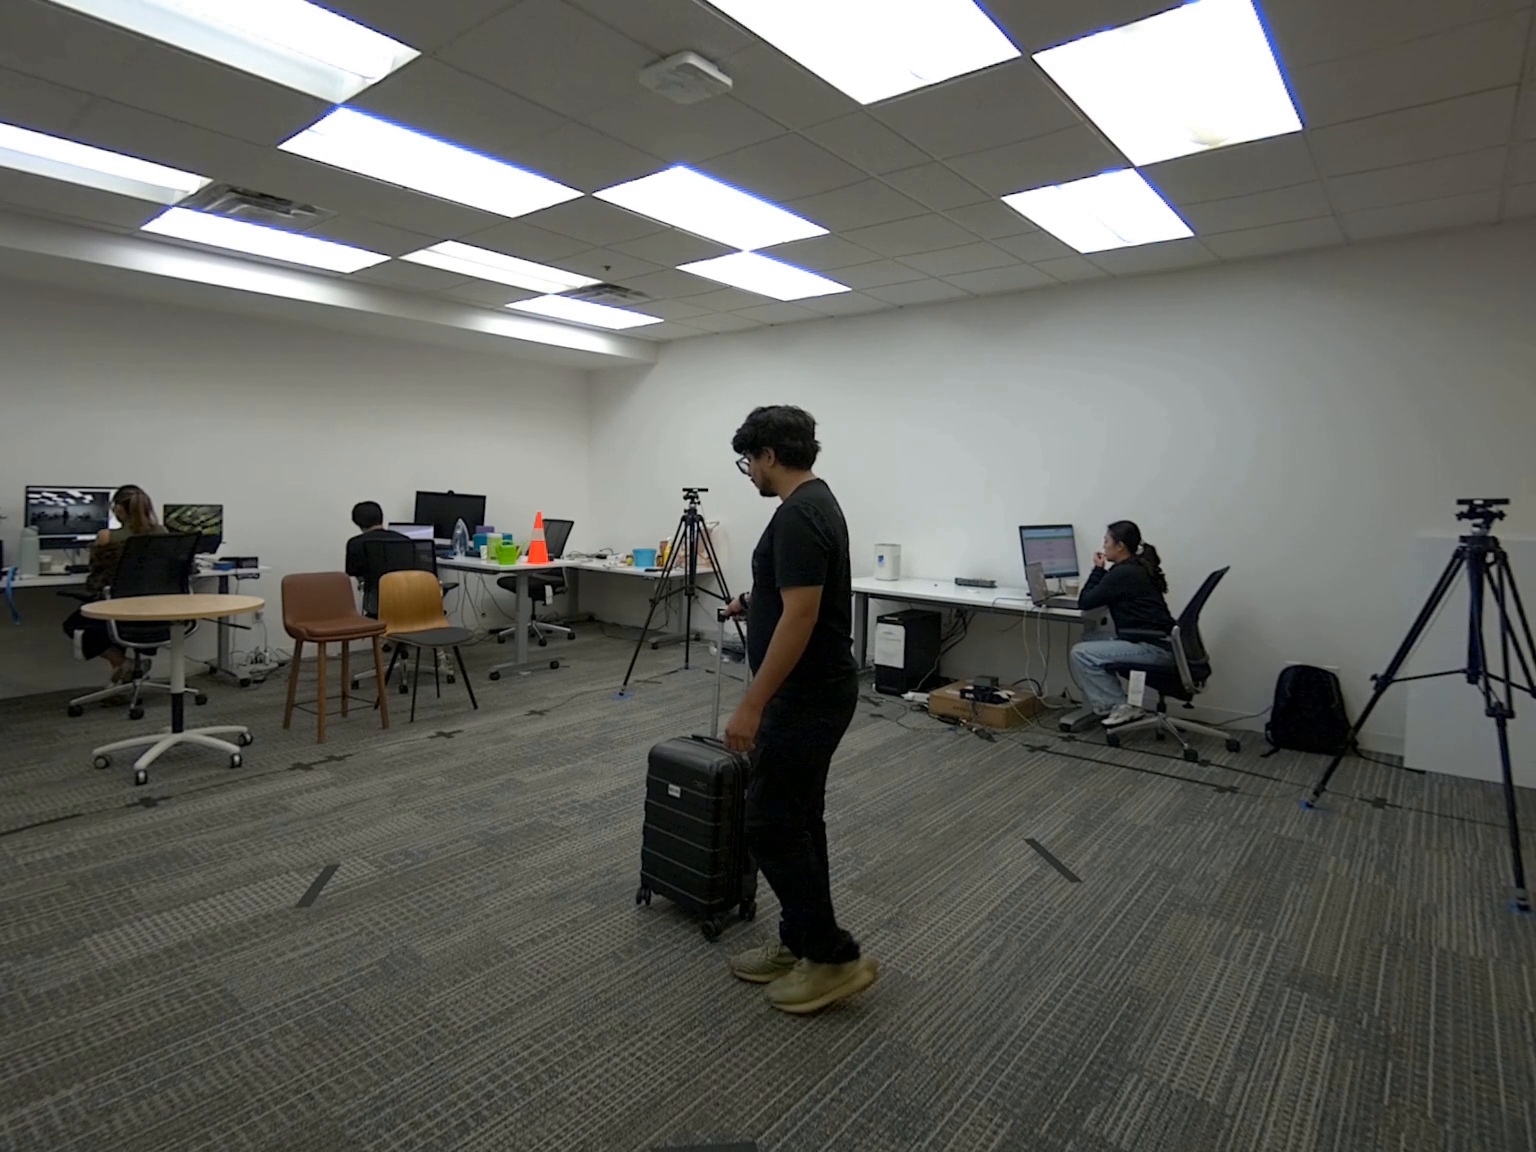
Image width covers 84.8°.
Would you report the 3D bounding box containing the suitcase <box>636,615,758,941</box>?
[{"bbox_3d":[-0.221,0.617,2.800,0.397,0.978,0.249,3,1,43],"label":"suitcase"}]
